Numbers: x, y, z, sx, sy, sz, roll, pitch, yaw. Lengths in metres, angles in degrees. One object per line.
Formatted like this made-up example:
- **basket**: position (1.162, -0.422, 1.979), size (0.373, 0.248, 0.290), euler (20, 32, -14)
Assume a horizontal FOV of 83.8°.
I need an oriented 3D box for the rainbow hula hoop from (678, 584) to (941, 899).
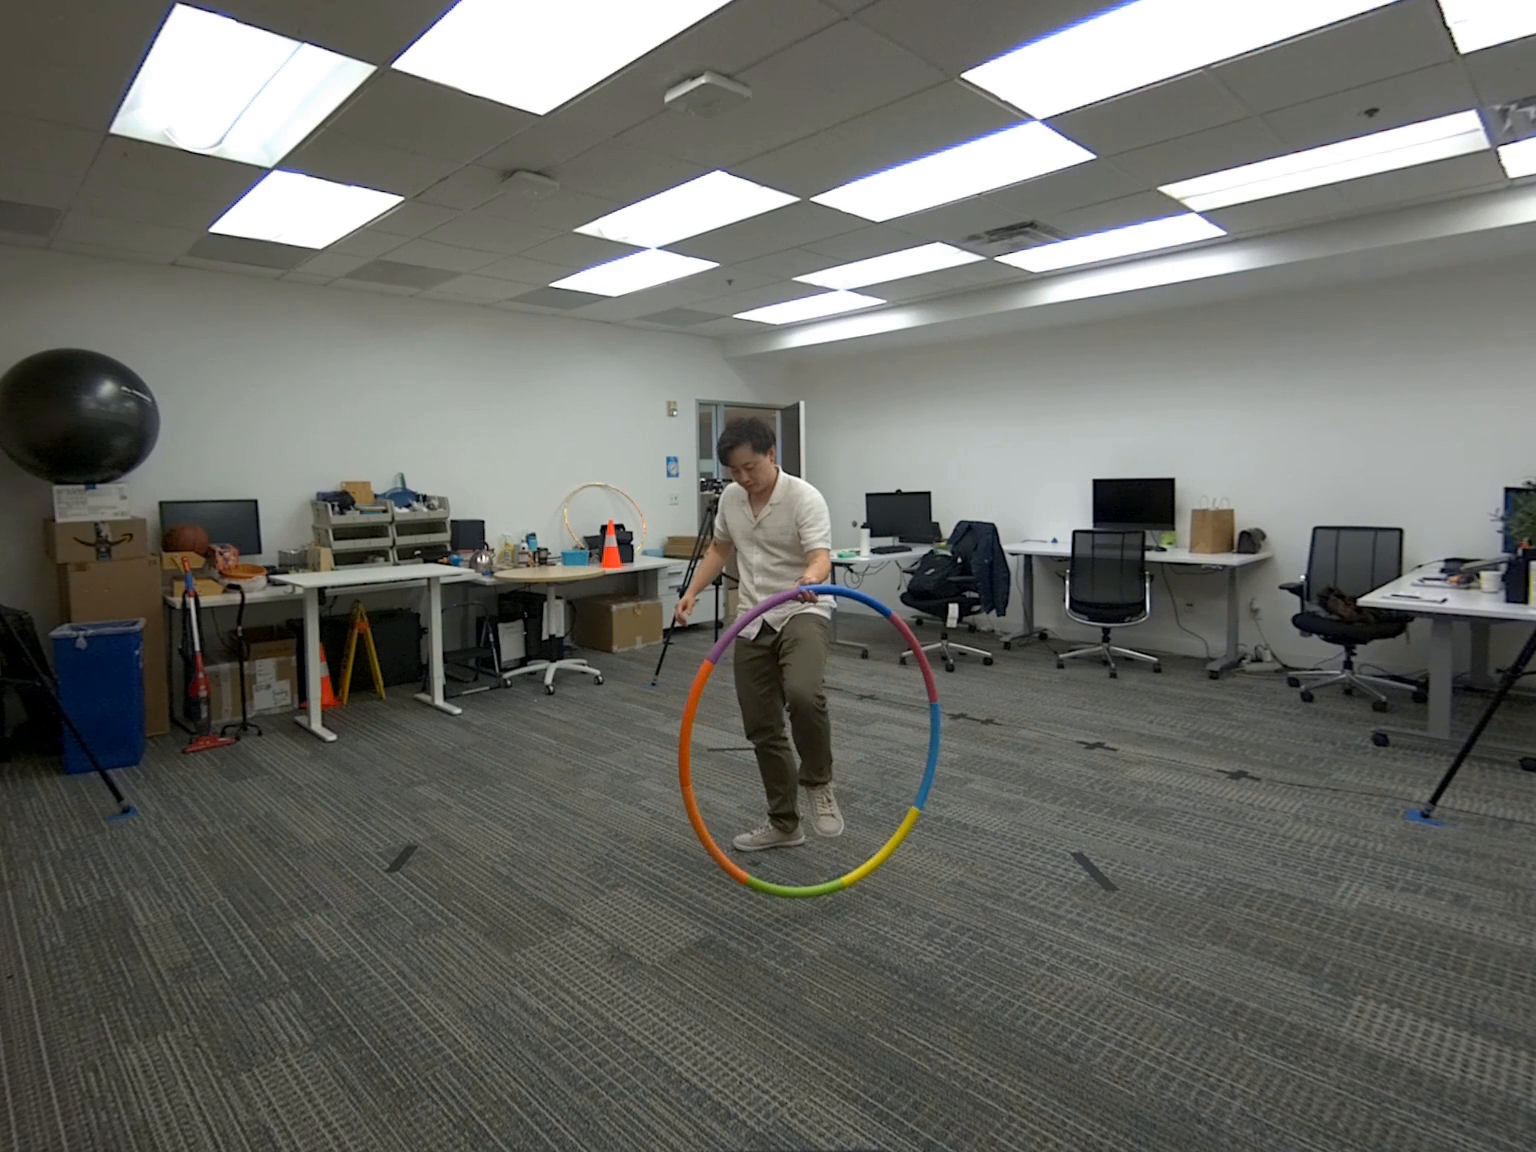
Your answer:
- **rainbow hula hoop**: position (0.167, 0.525, 2.731), size (0.957, 0.978, 0.036), euler (-3, 1, -27)
